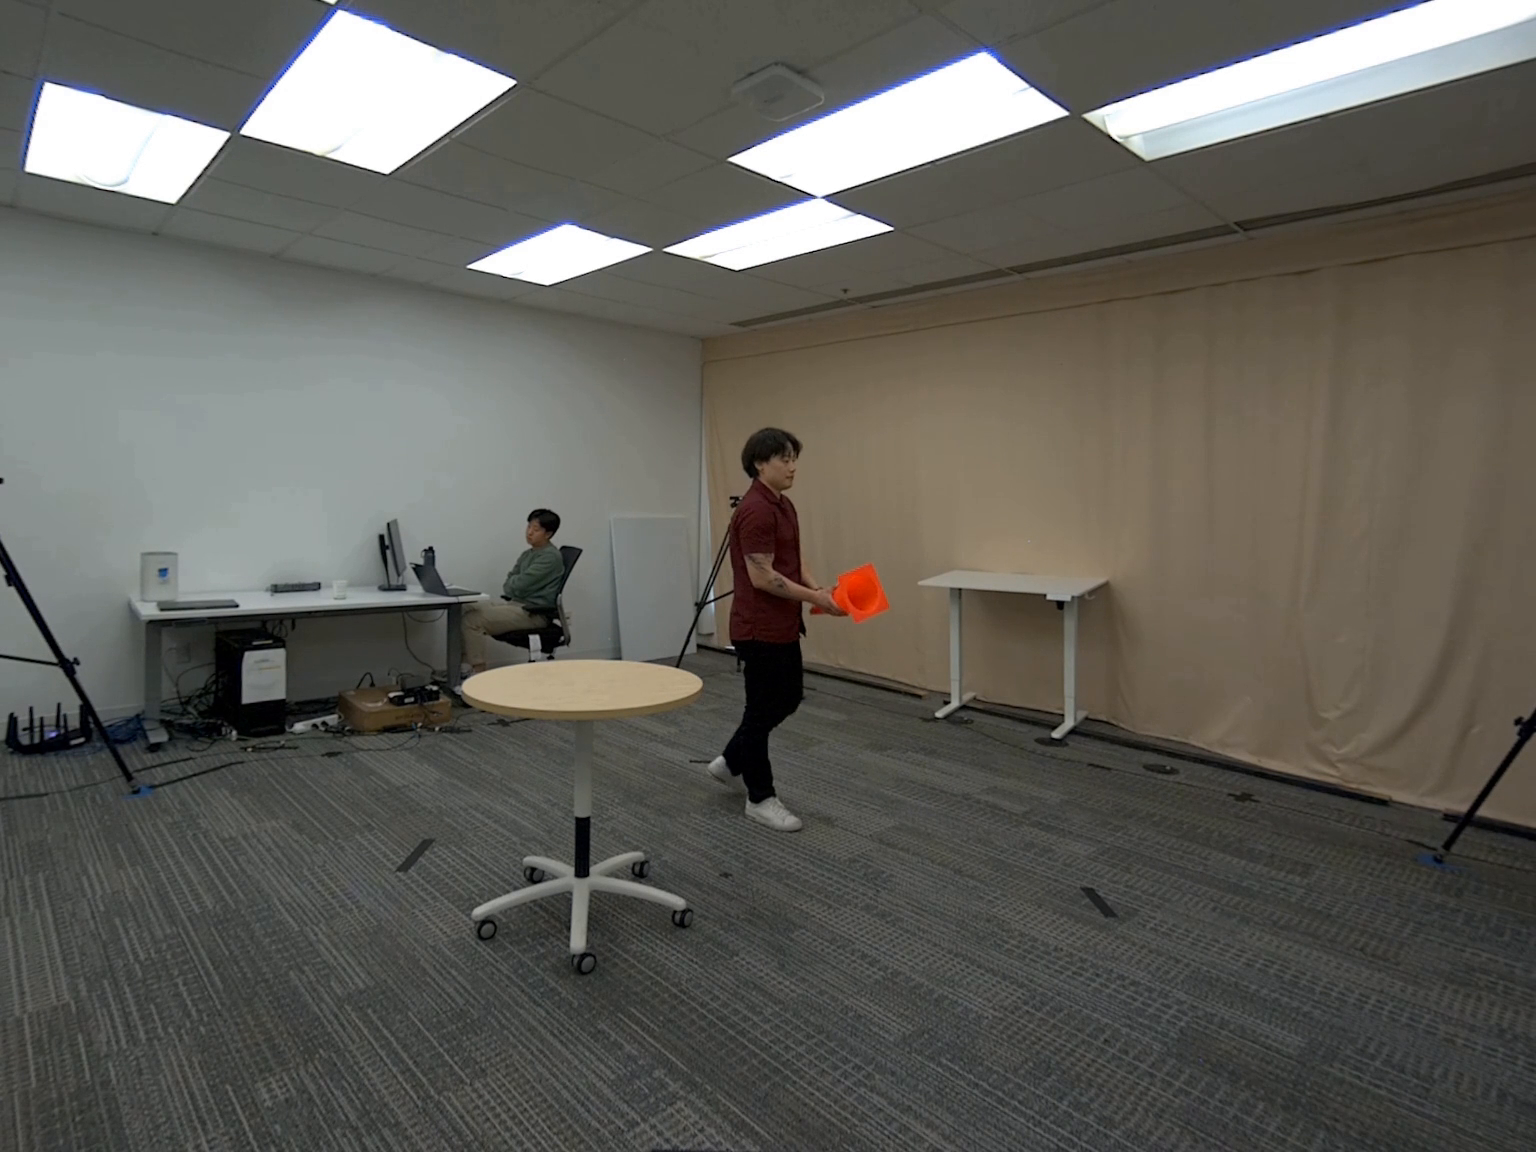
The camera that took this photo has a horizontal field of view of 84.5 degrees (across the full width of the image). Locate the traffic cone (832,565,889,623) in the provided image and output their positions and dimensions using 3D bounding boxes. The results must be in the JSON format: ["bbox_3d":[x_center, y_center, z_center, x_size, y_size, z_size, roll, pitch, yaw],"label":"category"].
[{"bbox_3d":[0.269,0.115,3.509,0.202,0.204,0.387,-19,-4,-35],"label":"traffic cone"}]
